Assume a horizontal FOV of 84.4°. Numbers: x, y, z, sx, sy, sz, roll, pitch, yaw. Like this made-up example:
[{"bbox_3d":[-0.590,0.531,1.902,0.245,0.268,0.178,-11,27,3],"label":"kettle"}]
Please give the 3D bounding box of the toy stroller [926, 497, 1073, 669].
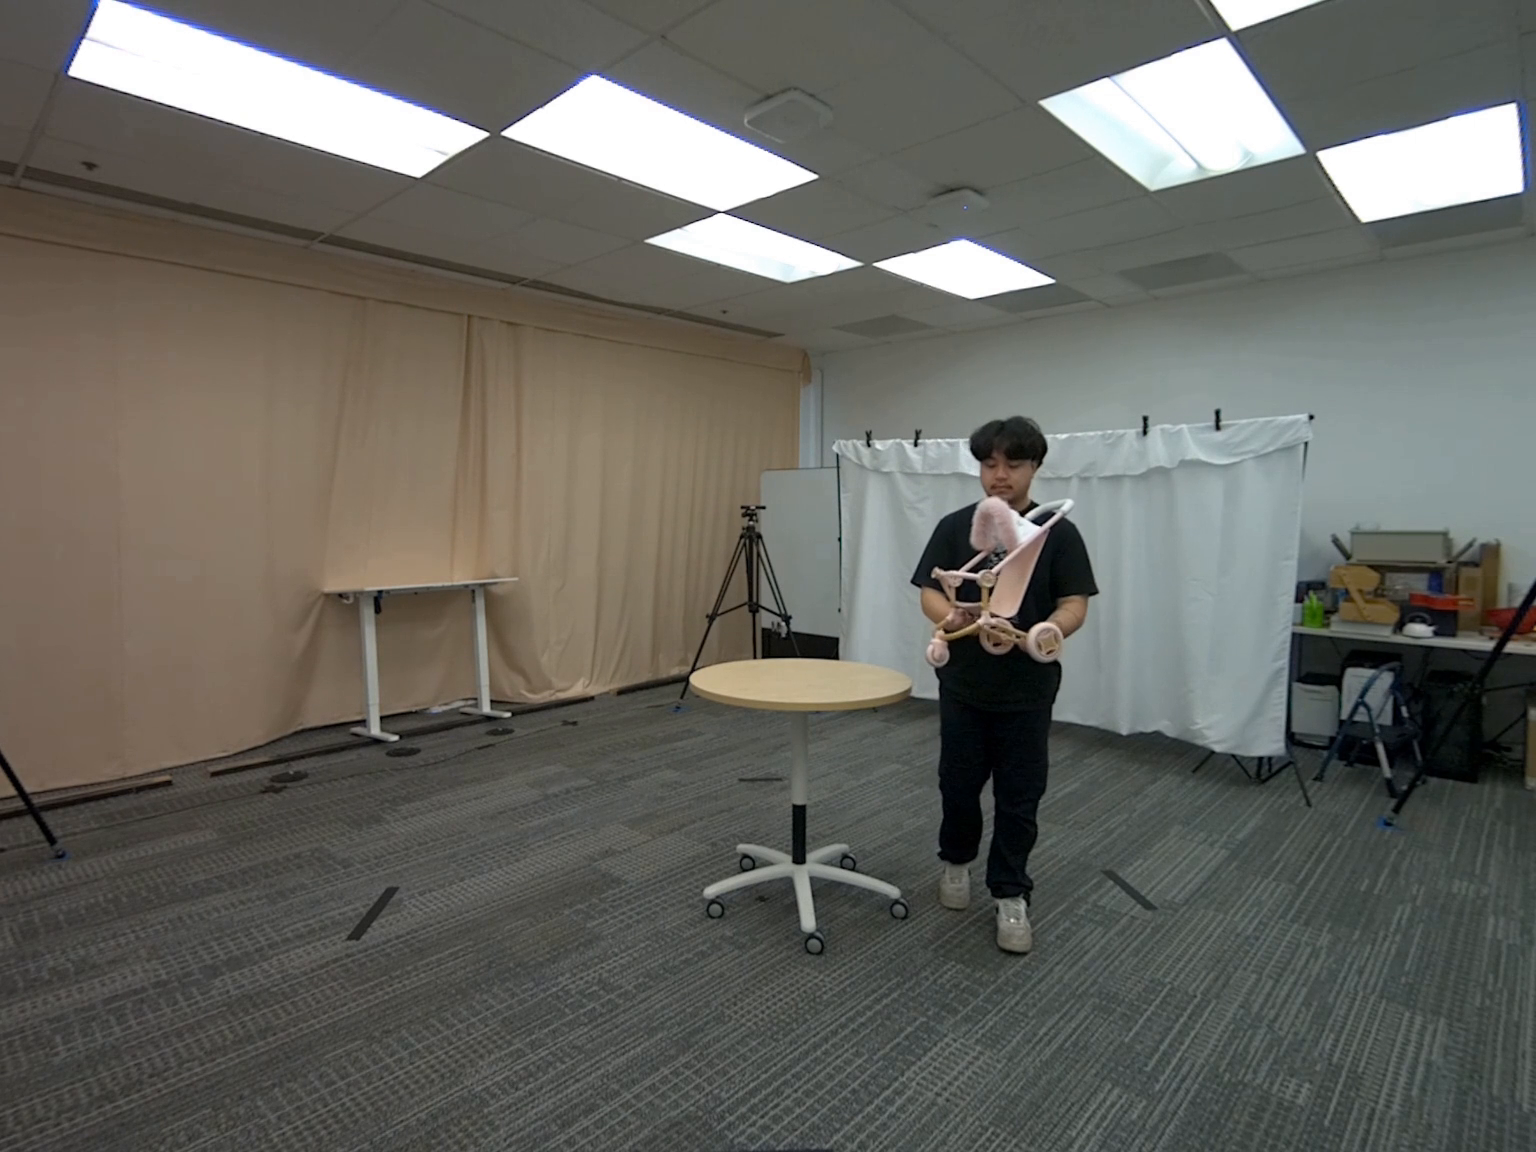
[{"bbox_3d":[0.642,0.014,2.410,0.339,0.535,0.283,11,-2,-7],"label":"toy stroller"}]
